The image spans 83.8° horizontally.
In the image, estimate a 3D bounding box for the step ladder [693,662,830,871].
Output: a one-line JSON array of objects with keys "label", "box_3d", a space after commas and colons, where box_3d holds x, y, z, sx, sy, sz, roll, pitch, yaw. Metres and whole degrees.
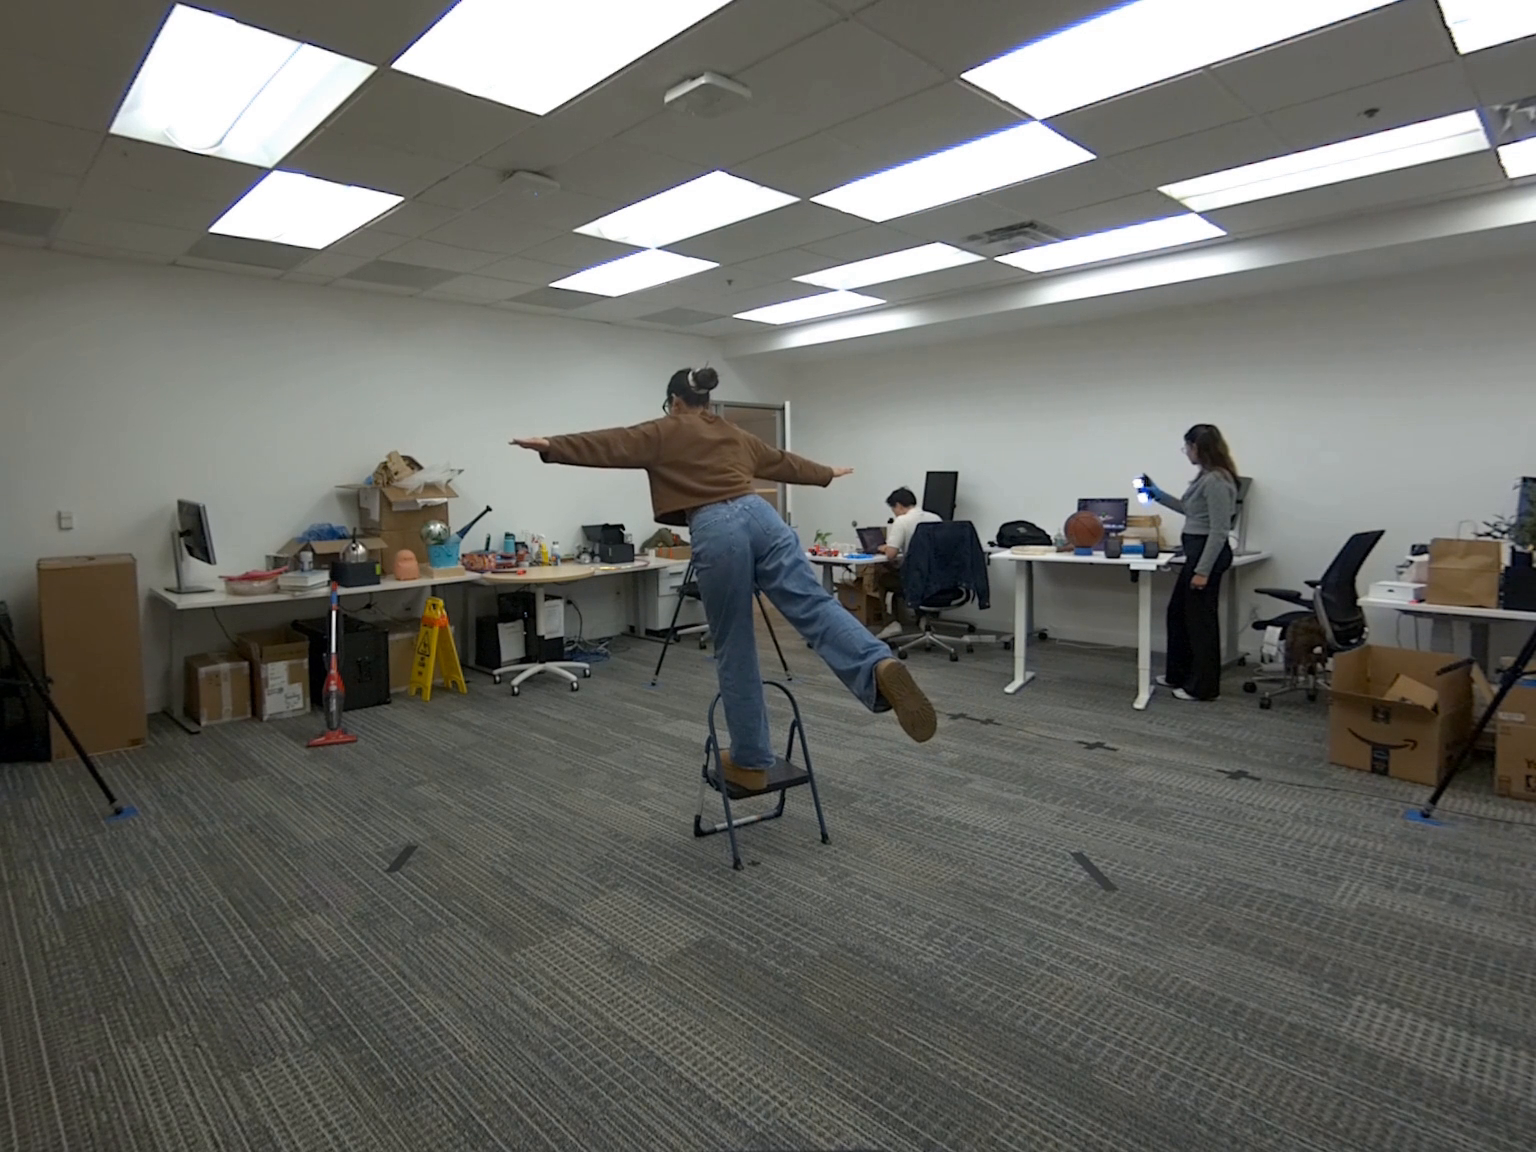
[{"label": "step ladder", "box_3d": [-0.030, 0.721, 3.293, 0.420, 0.604, 0.359, -4, 5, -33]}]
